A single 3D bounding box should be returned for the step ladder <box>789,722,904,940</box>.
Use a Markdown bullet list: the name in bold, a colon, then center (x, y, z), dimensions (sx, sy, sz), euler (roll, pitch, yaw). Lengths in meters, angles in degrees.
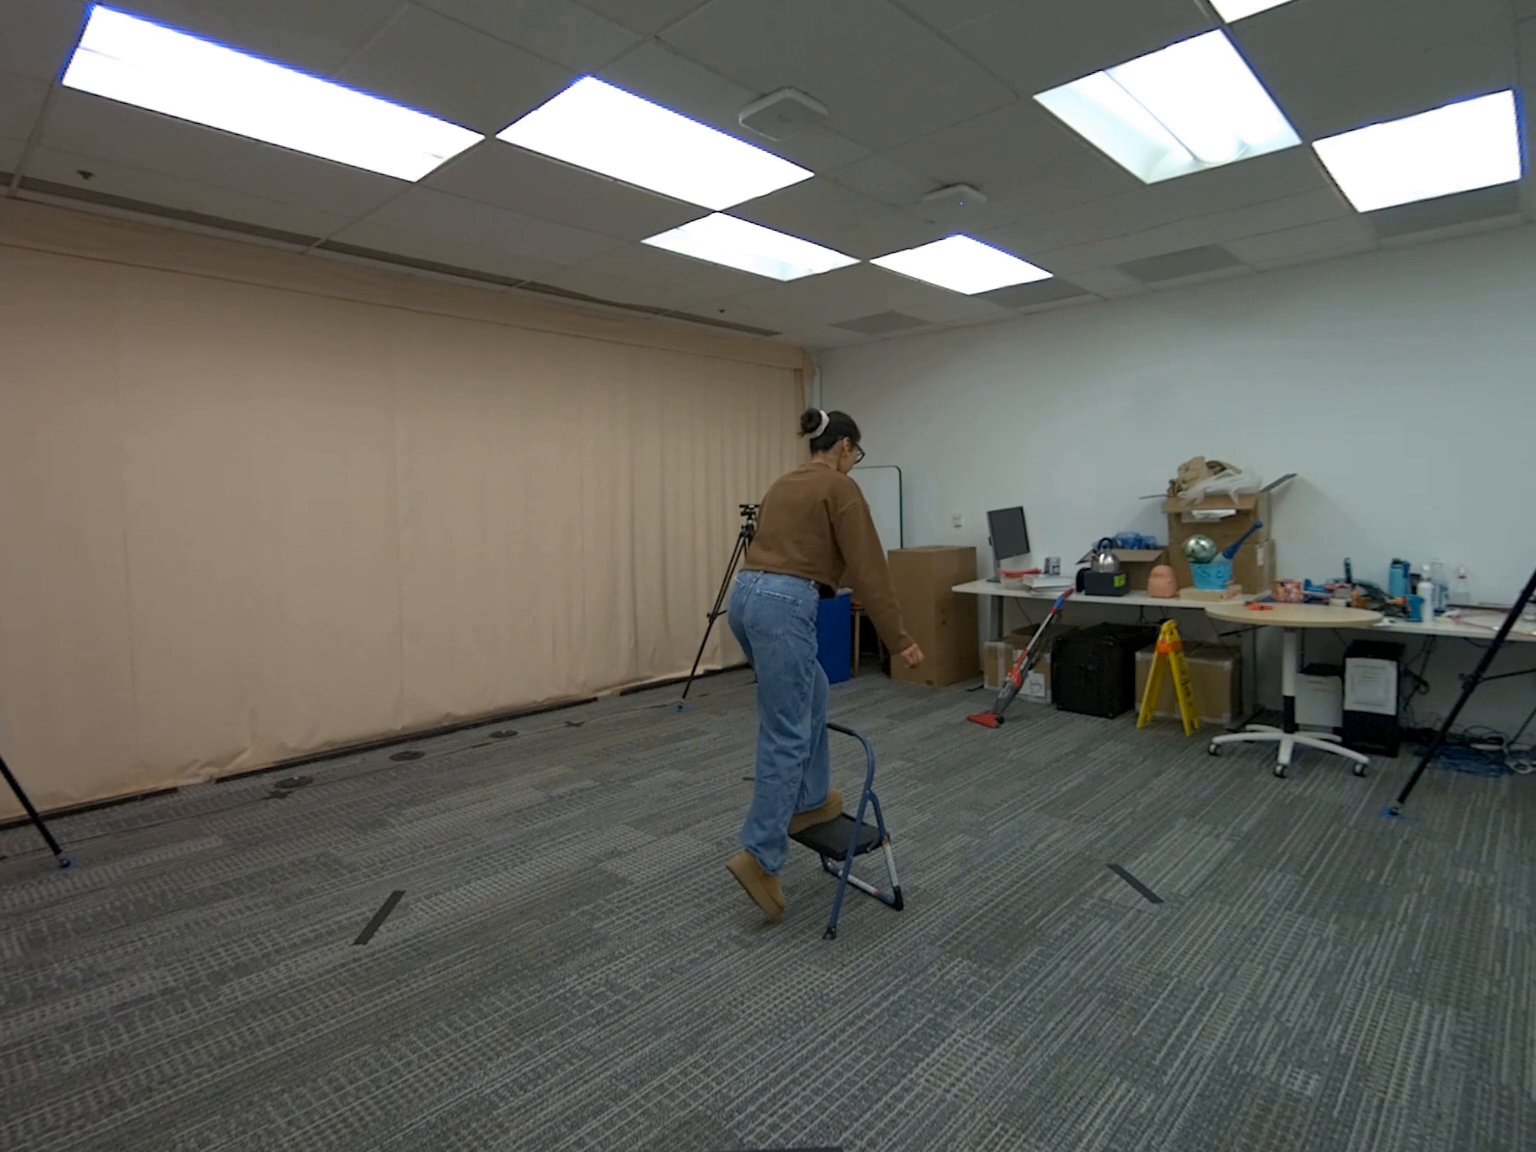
- **step ladder**: center (0.209, 0.839, 2.935), dimensions (0.339, 0.605, 0.444), euler (-3, 4, -36)
